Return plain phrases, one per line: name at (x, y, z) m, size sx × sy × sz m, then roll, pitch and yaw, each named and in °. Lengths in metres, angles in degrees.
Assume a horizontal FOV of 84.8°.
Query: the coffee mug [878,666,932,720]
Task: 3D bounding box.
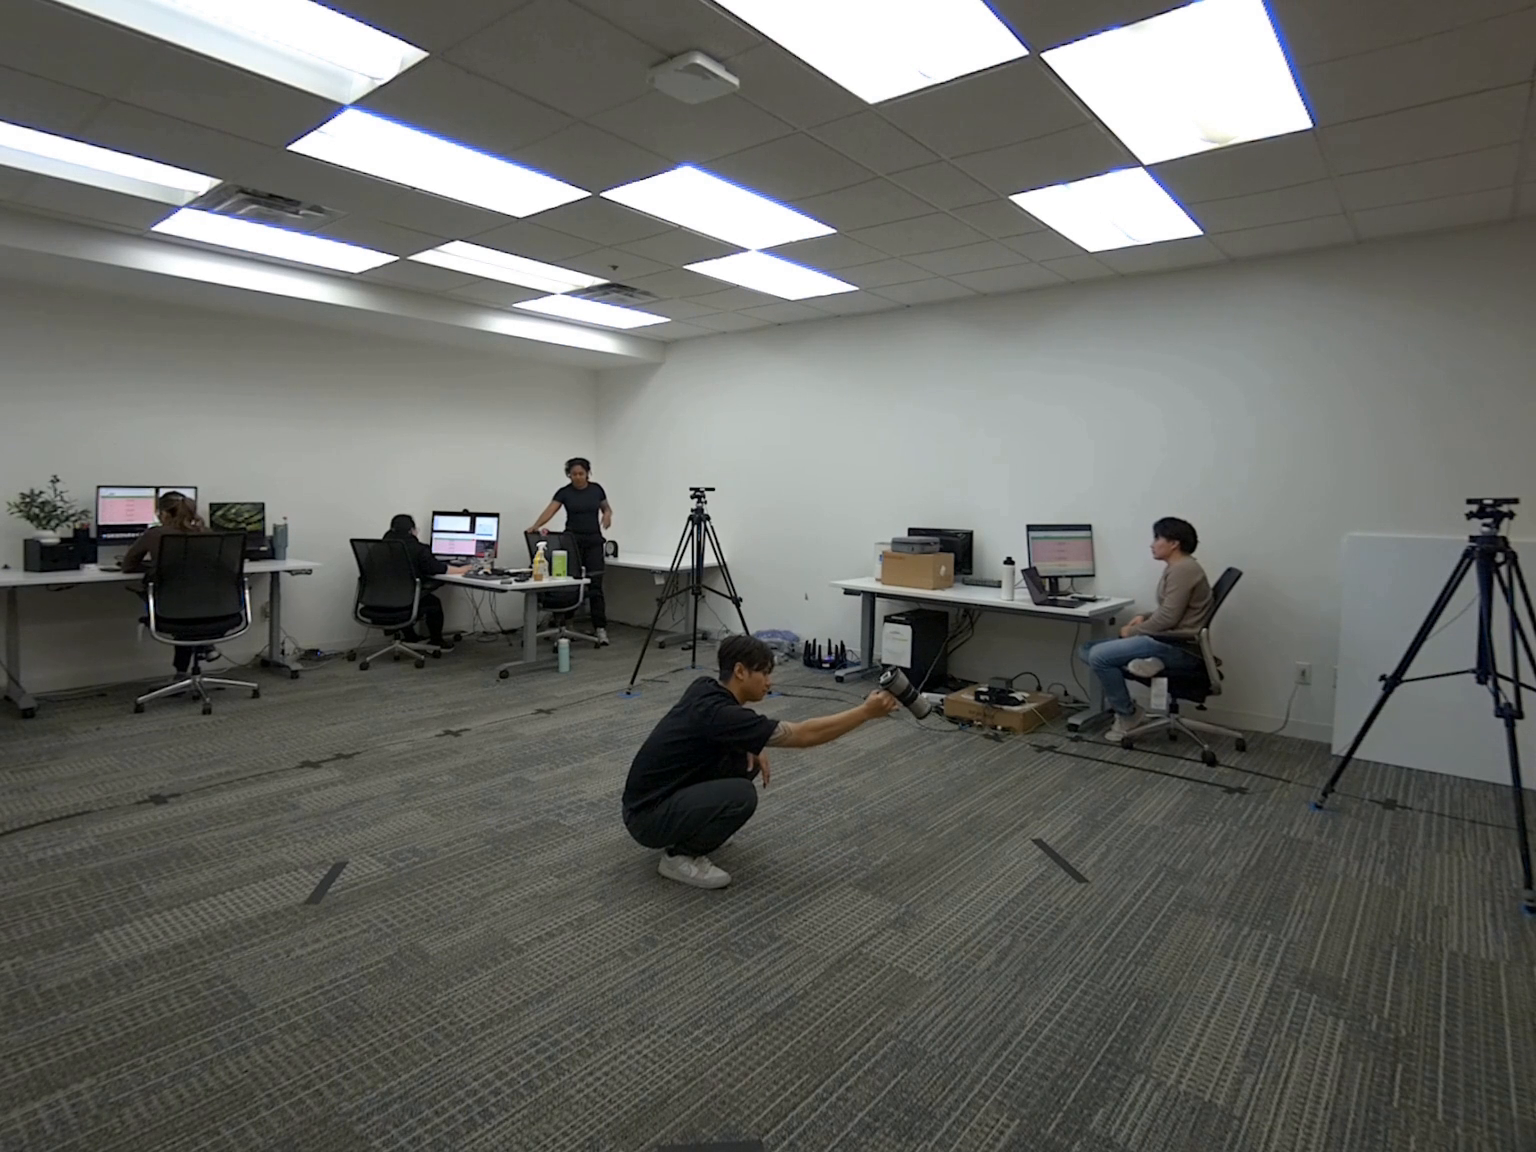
coffee mug at (0.463, 0.436, 3.002) m, size 0.122 × 0.200 × 0.089 m, roll -41°, pitch 12°, yaw 6°
